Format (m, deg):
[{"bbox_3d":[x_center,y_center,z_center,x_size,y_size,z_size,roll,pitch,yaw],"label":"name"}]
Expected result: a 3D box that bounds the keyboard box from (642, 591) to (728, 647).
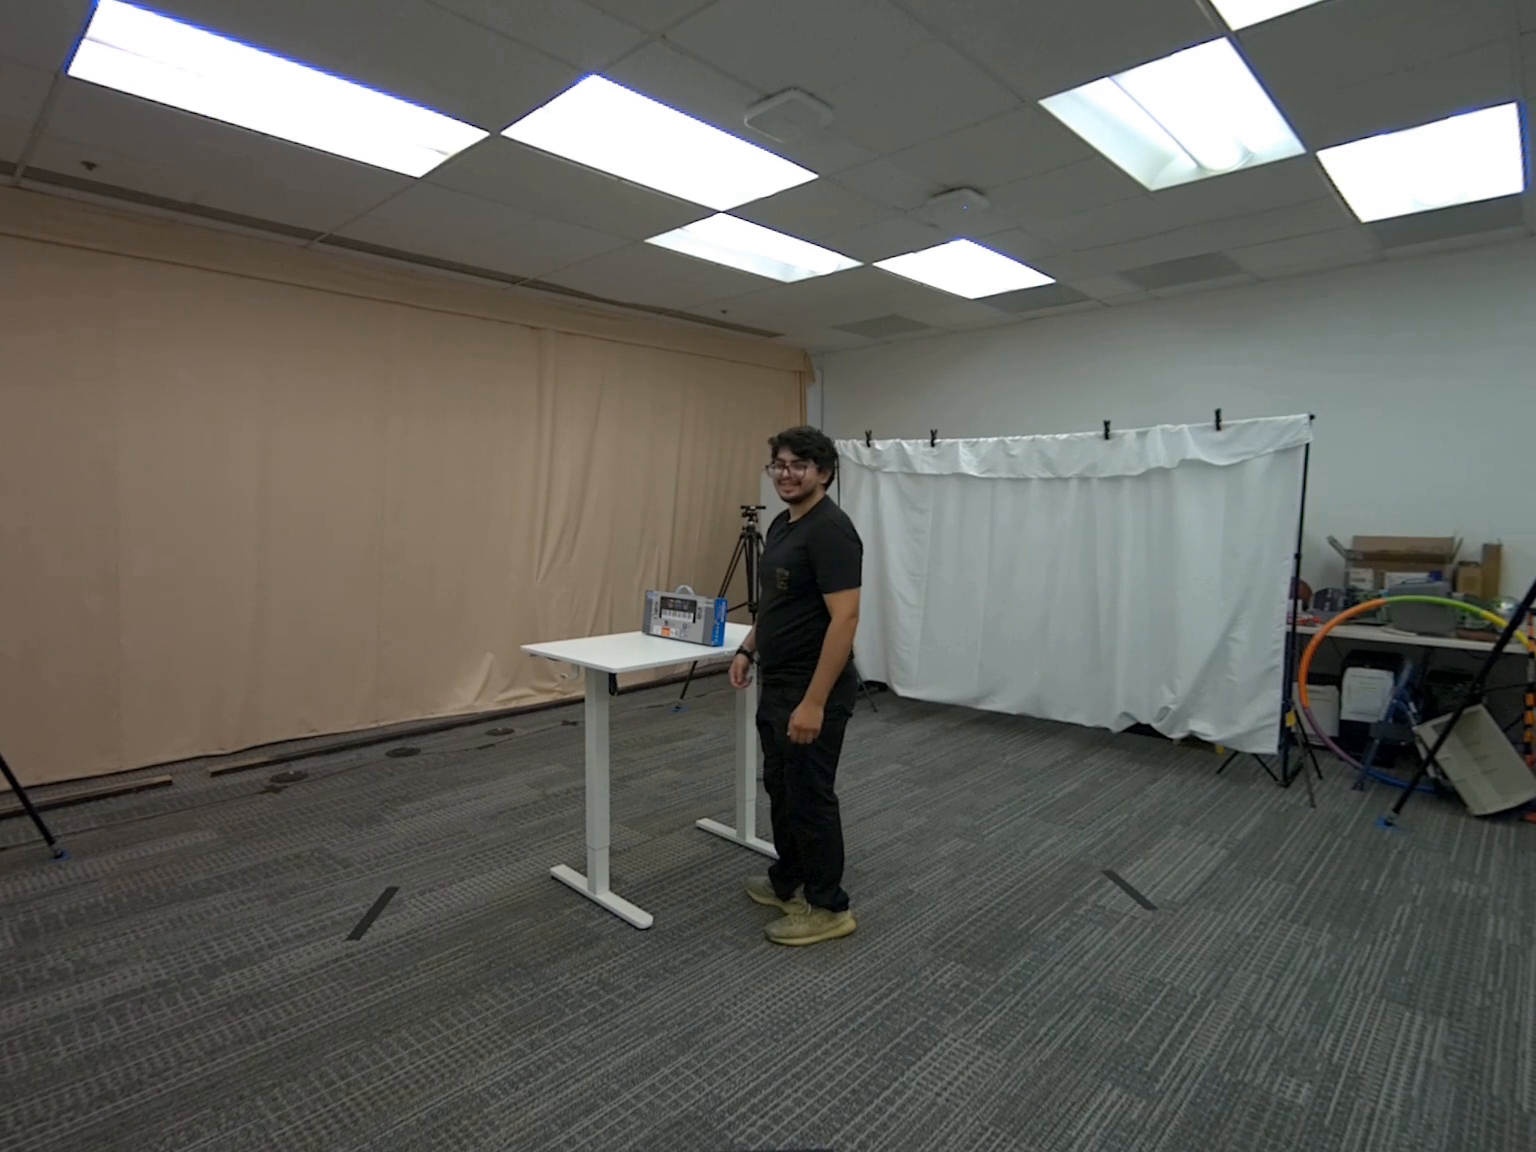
[{"bbox_3d":[-0.324,0.157,3.215,0.057,0.176,0.451,7,-2,-43],"label":"keyboard box"}]
